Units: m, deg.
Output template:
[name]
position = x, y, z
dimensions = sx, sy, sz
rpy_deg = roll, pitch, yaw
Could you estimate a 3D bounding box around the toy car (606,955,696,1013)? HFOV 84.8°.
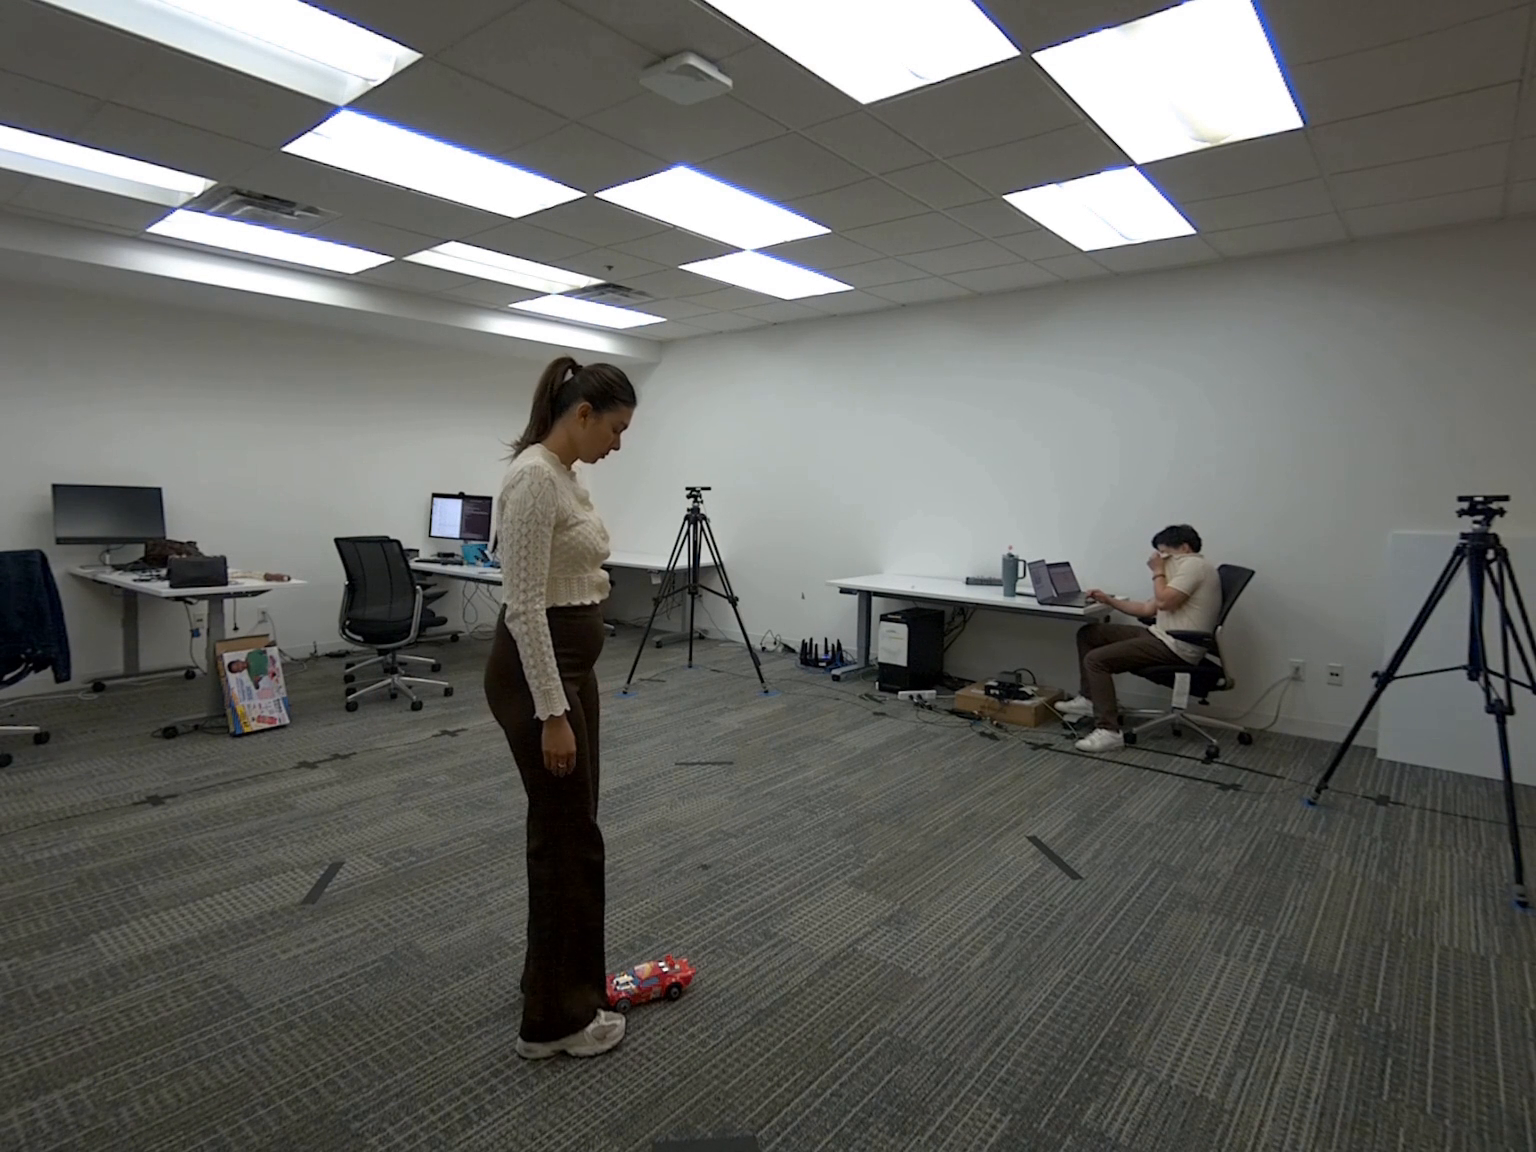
[toy car]
position = -0.329, 1.112, 2.320
dimensions = 0.250, 0.082, 0.134
rpy_deg = -14, 12, -24
